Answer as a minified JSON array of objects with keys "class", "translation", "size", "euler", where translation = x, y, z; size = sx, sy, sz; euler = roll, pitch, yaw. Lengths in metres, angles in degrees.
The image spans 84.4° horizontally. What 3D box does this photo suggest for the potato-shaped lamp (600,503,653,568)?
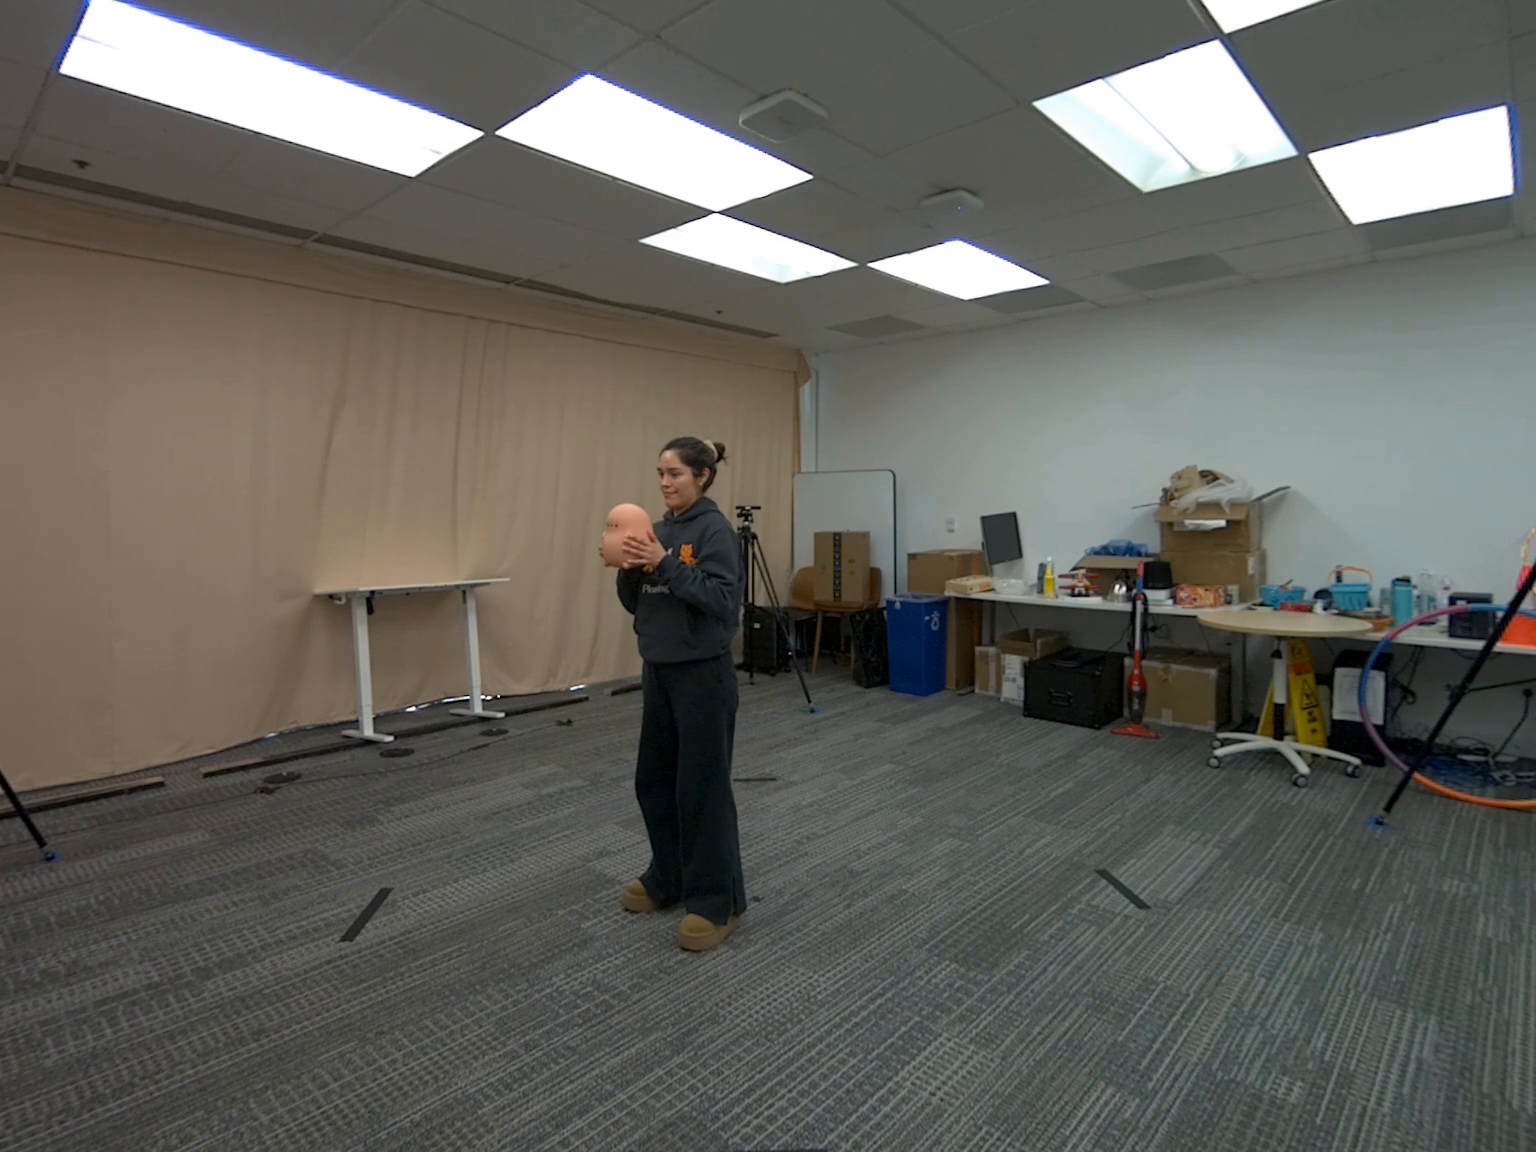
[{"class":"potato-shaped lamp","translation":[-0.440,-0.126,2.689],"size":[0.167,0.196,0.170],"euler":[-15,15,-43]}]
